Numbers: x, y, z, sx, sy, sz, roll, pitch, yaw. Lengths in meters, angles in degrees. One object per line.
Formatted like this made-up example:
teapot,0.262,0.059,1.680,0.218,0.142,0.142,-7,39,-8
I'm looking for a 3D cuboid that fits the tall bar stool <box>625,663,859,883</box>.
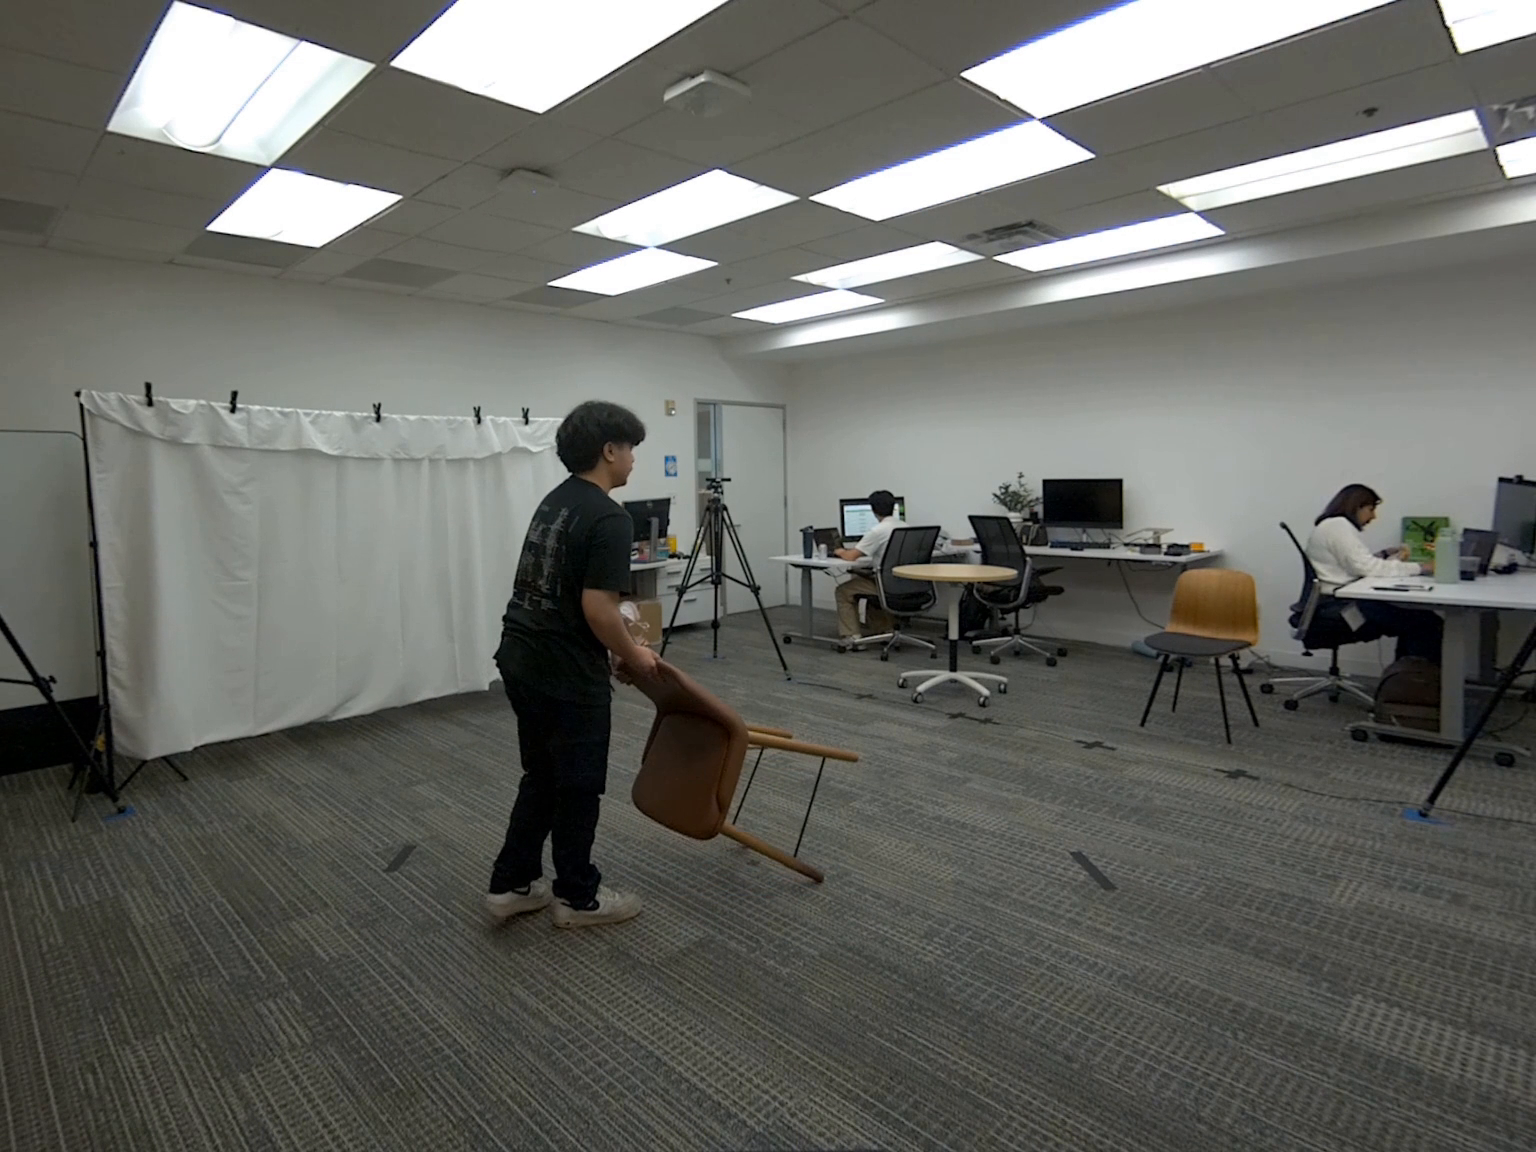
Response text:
tall bar stool,-0.160,0.656,2.915,0.857,0.470,0.471,33,-17,-37
